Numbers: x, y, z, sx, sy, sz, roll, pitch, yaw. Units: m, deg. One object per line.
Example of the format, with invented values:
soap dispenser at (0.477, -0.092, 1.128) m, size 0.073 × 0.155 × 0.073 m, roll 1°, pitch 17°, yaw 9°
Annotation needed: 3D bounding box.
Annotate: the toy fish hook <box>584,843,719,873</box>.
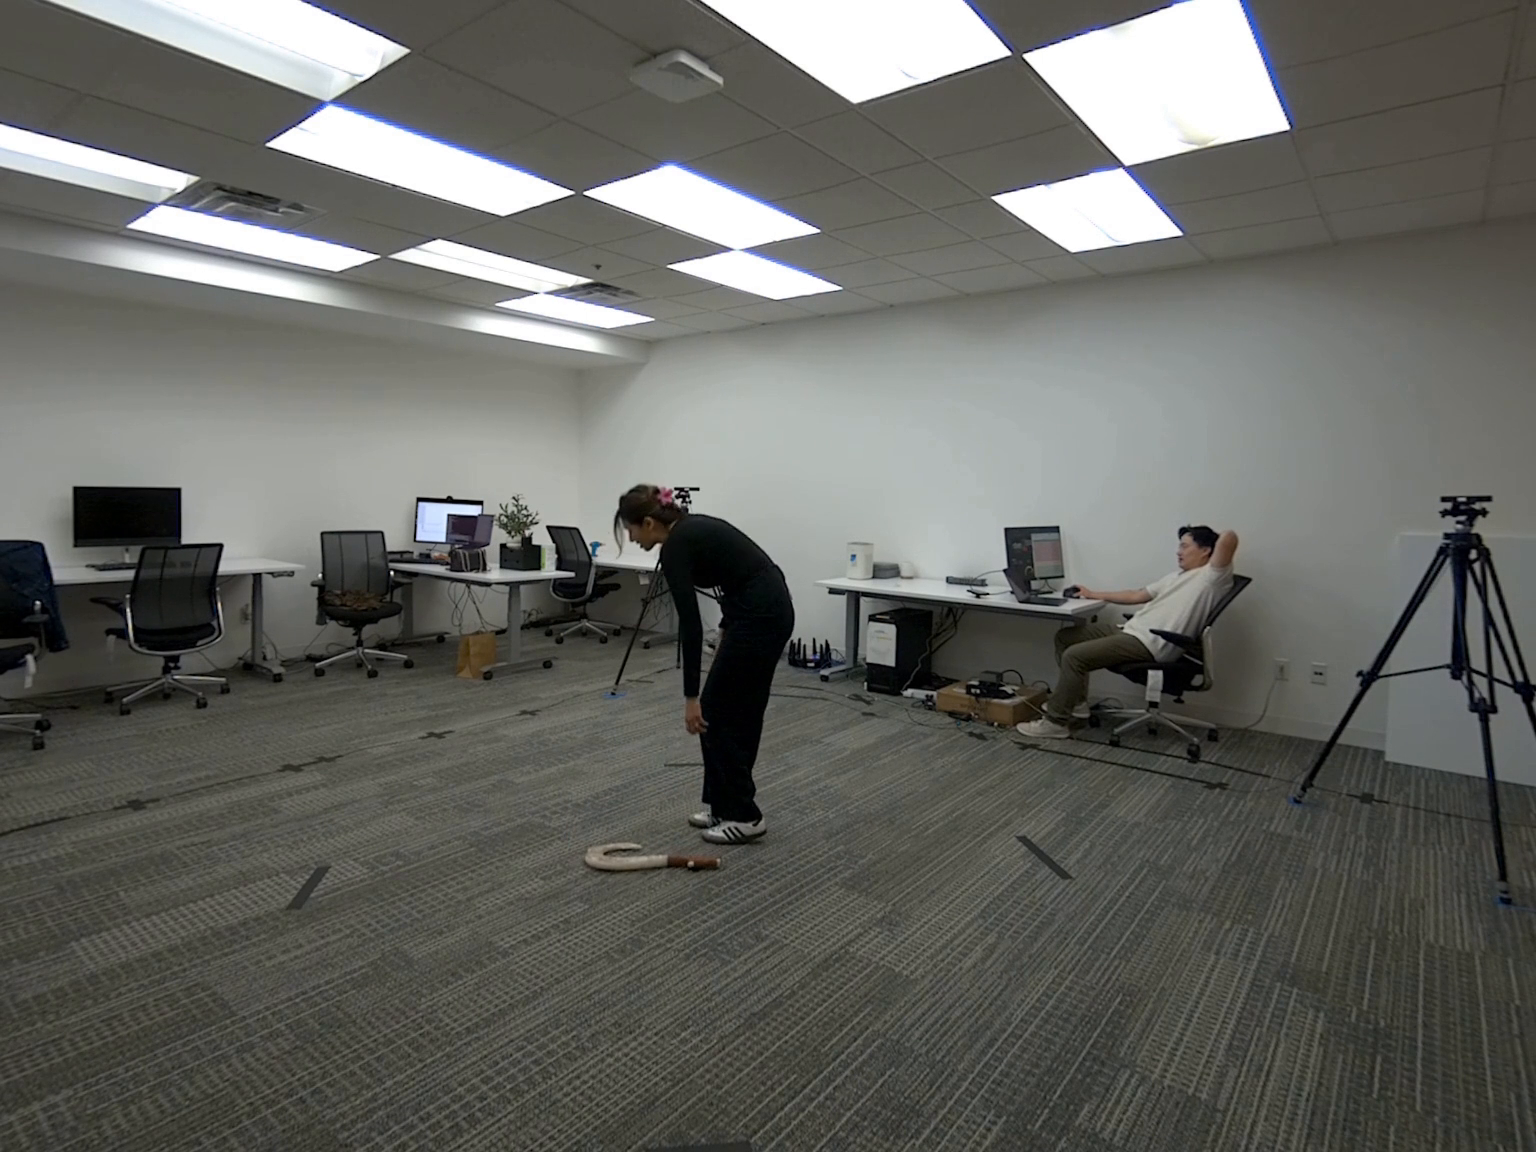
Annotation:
toy fish hook at (-0.434, 1.034, 3.161) m, size 0.507 × 0.048 × 0.225 m, roll 1°, pitch 6°, yaw 0°
